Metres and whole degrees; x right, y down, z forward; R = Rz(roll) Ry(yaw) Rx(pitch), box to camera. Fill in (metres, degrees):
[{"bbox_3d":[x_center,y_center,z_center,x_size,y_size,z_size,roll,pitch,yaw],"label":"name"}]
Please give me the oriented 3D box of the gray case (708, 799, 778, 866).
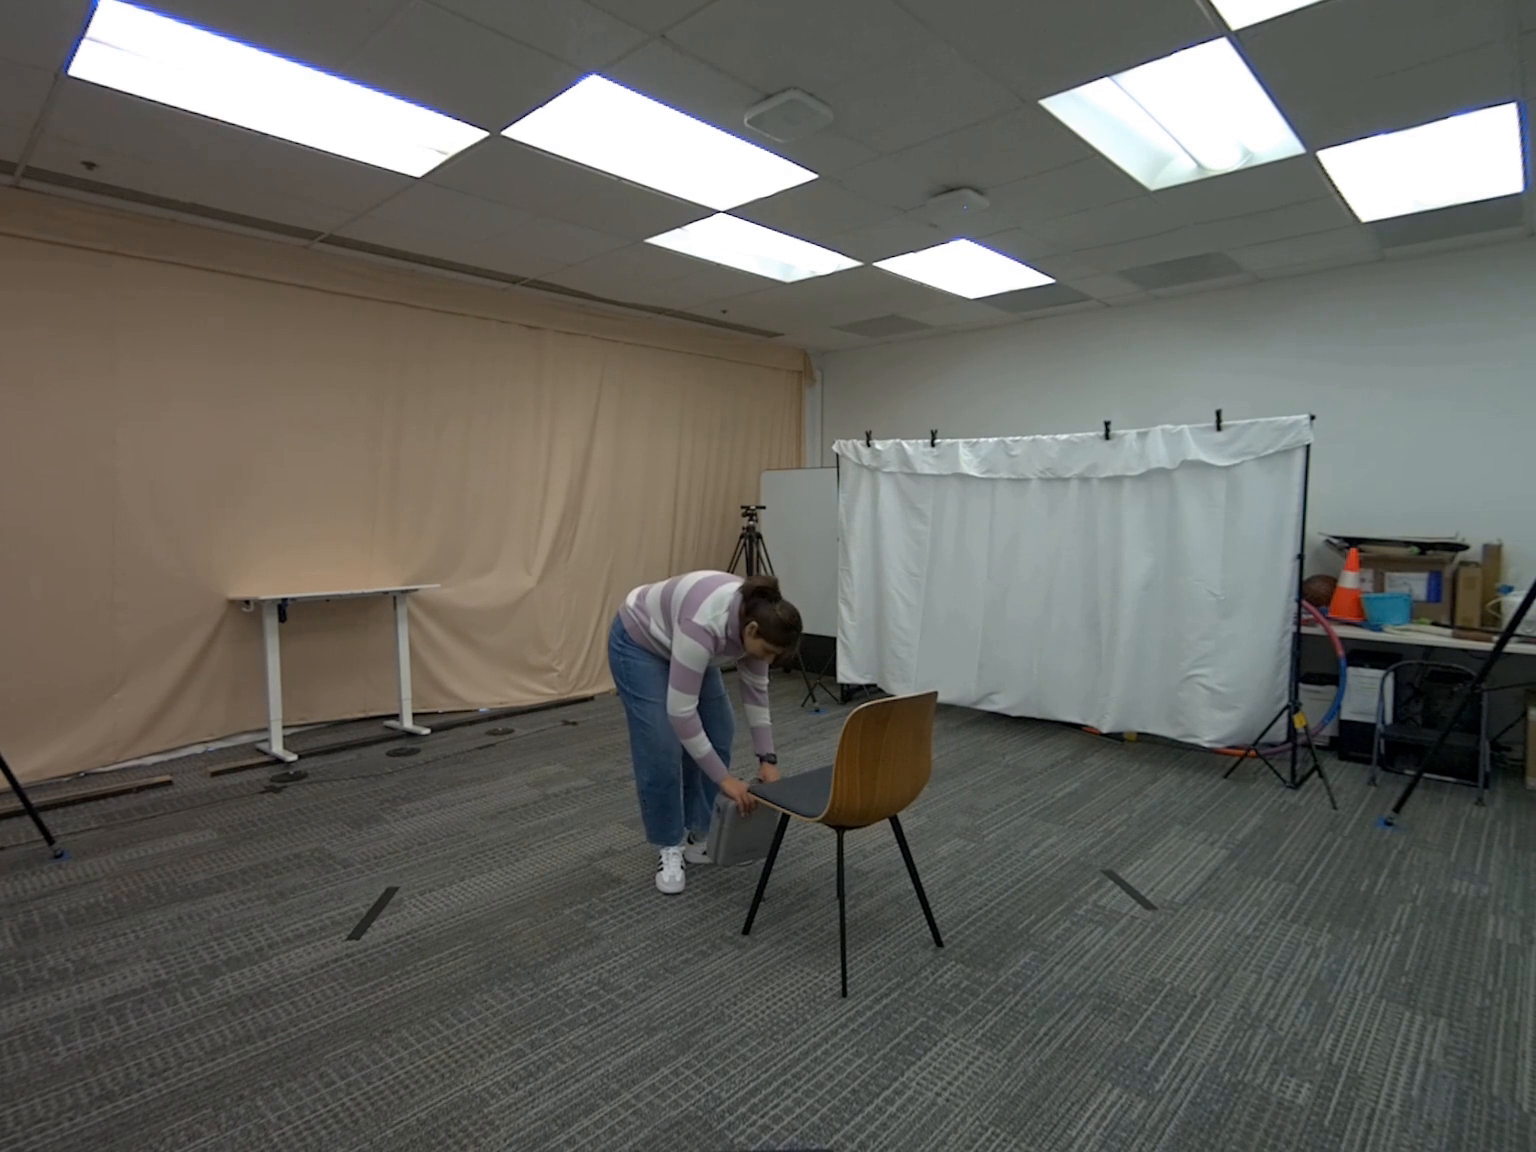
[{"bbox_3d":[-0.077,0.875,2.968,0.249,0.260,0.108,3,9,-39],"label":"gray case"}]
